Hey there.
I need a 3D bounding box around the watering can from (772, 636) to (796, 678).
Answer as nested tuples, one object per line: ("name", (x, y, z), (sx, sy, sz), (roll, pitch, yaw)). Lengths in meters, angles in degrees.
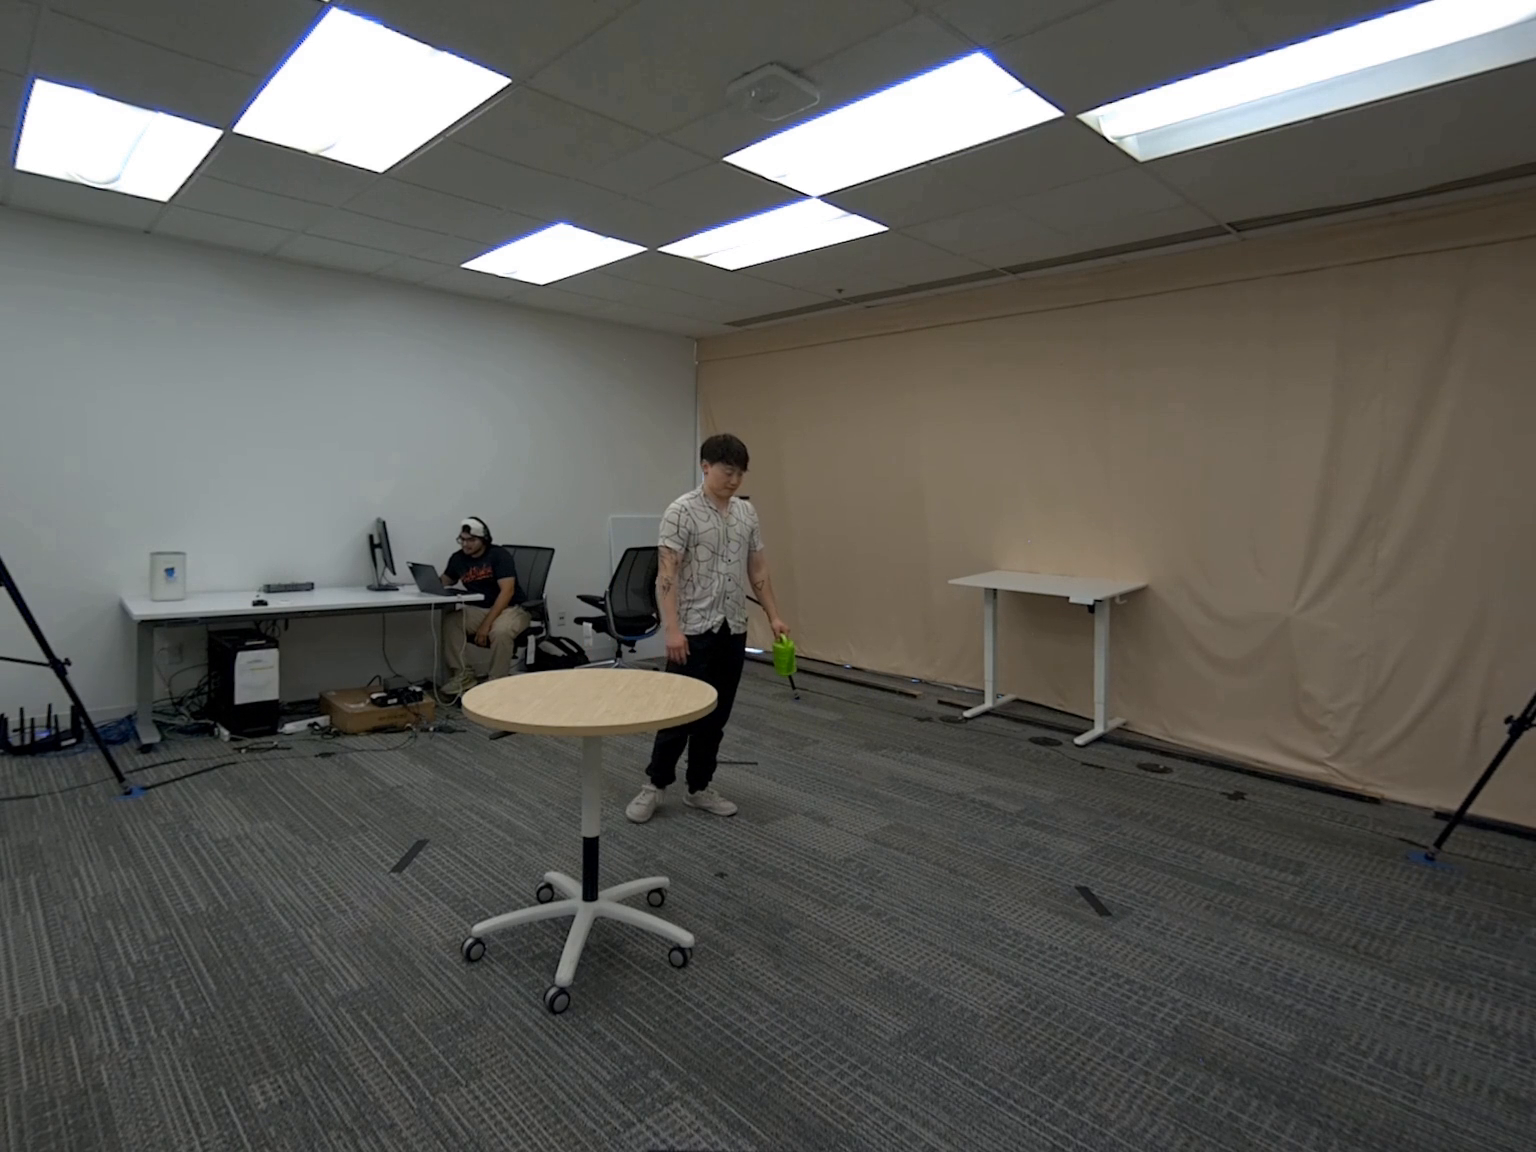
("watering can", (0.048, 0.354, 3.698), (0.098, 0.175, 0.281), (-5, 14, -1))
